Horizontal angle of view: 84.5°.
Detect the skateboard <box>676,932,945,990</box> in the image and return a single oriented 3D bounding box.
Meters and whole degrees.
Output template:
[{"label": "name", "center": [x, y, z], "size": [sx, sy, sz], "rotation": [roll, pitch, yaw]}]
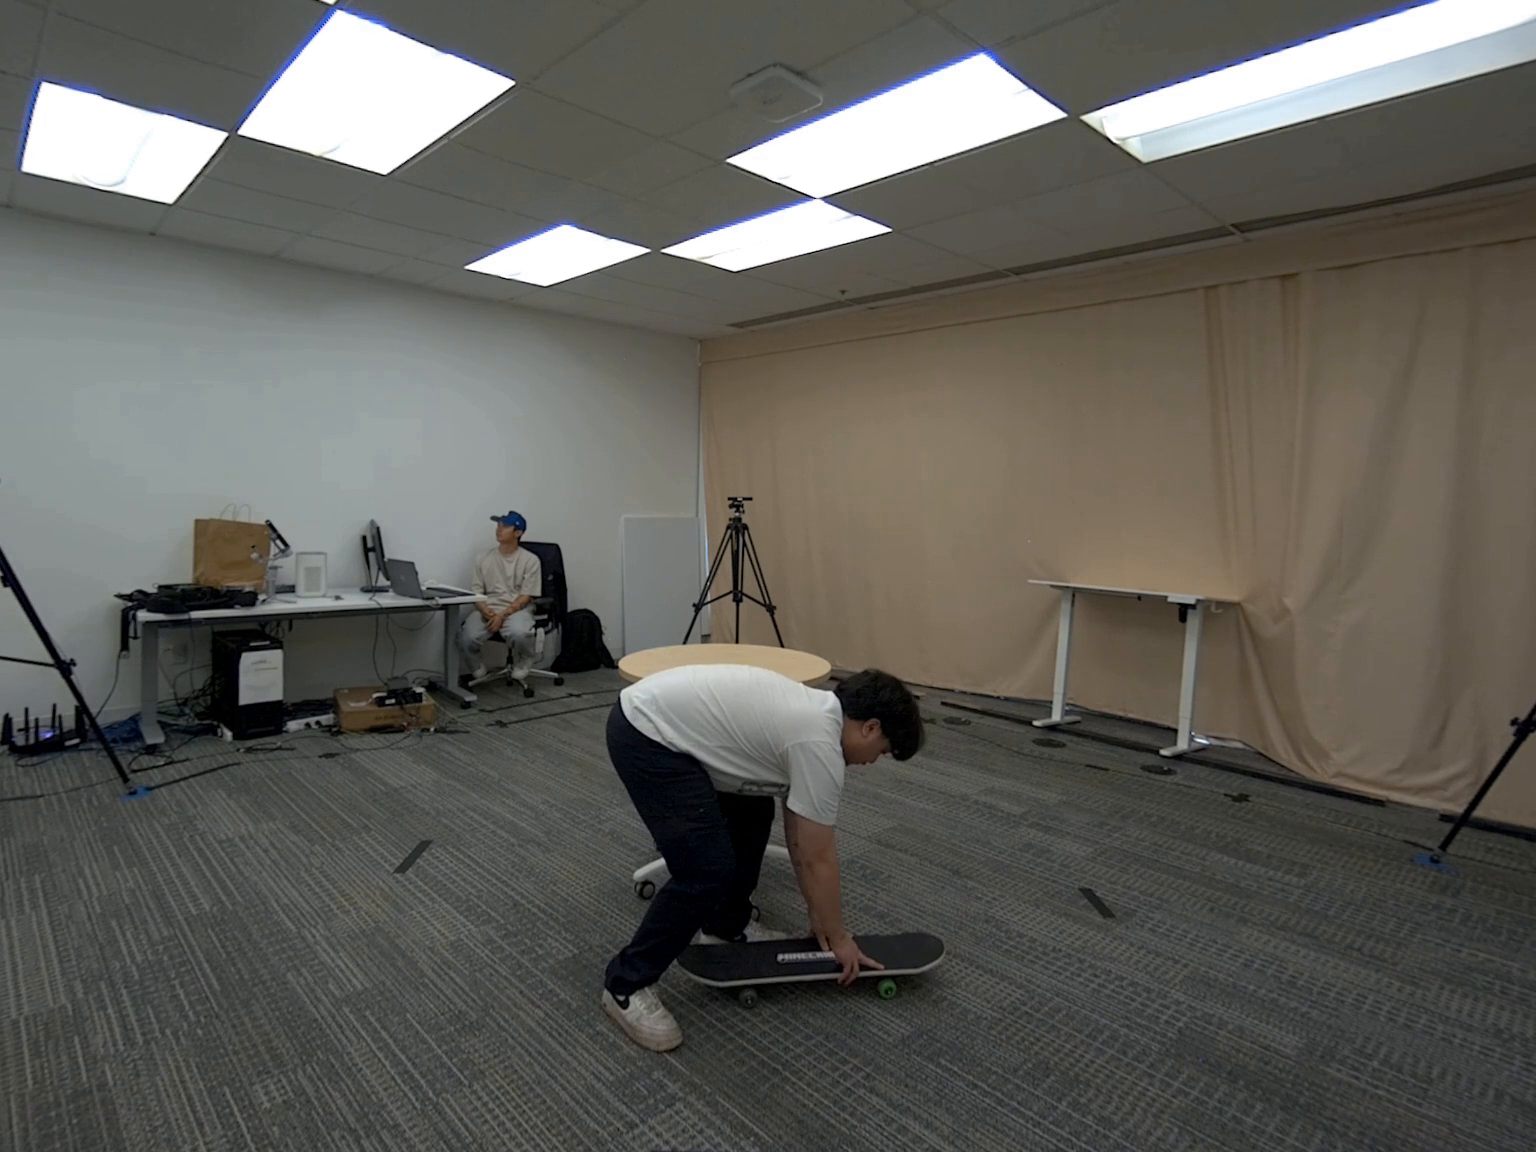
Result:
[{"label": "skateboard", "center": [0.122, 1.124, 2.410], "size": [0.780, 0.110, 0.195], "rotation": [0, 4, -8]}]
